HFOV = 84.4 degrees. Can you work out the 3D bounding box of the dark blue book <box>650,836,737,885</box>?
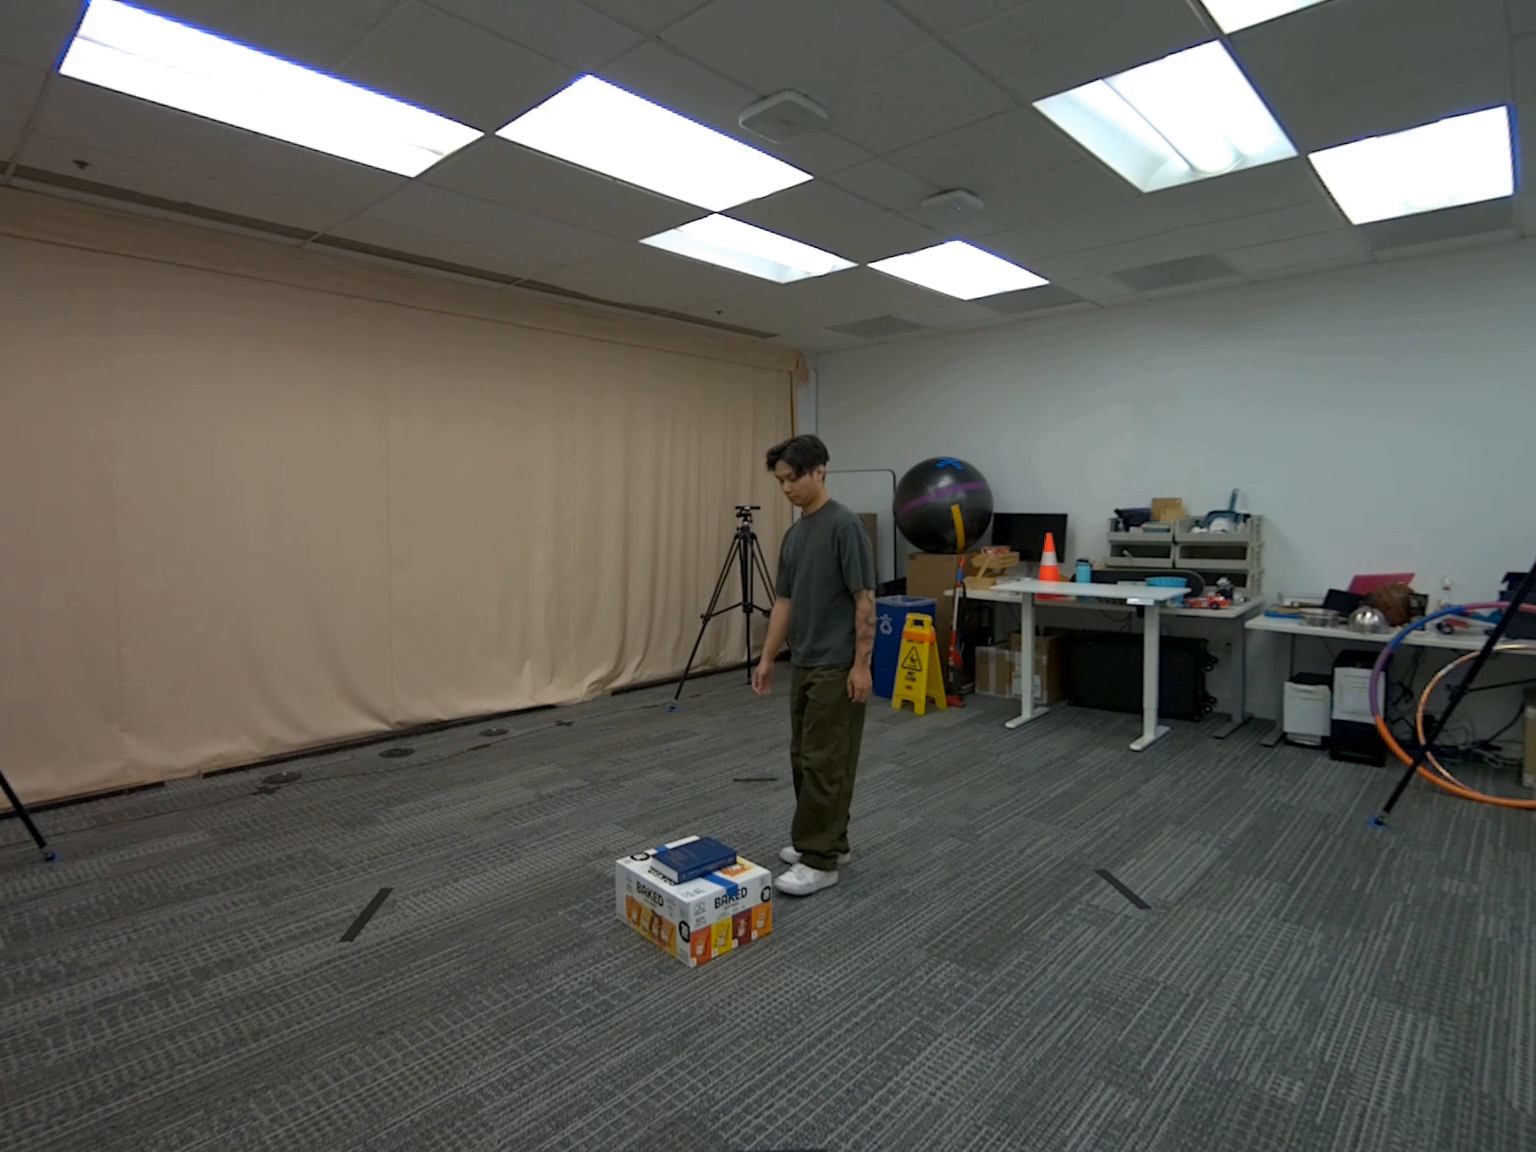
[{"bbox_3d":[-0.252,0.949,2.789,0.238,0.045,0.169,-5,6,-40],"label":"dark blue book"}]
